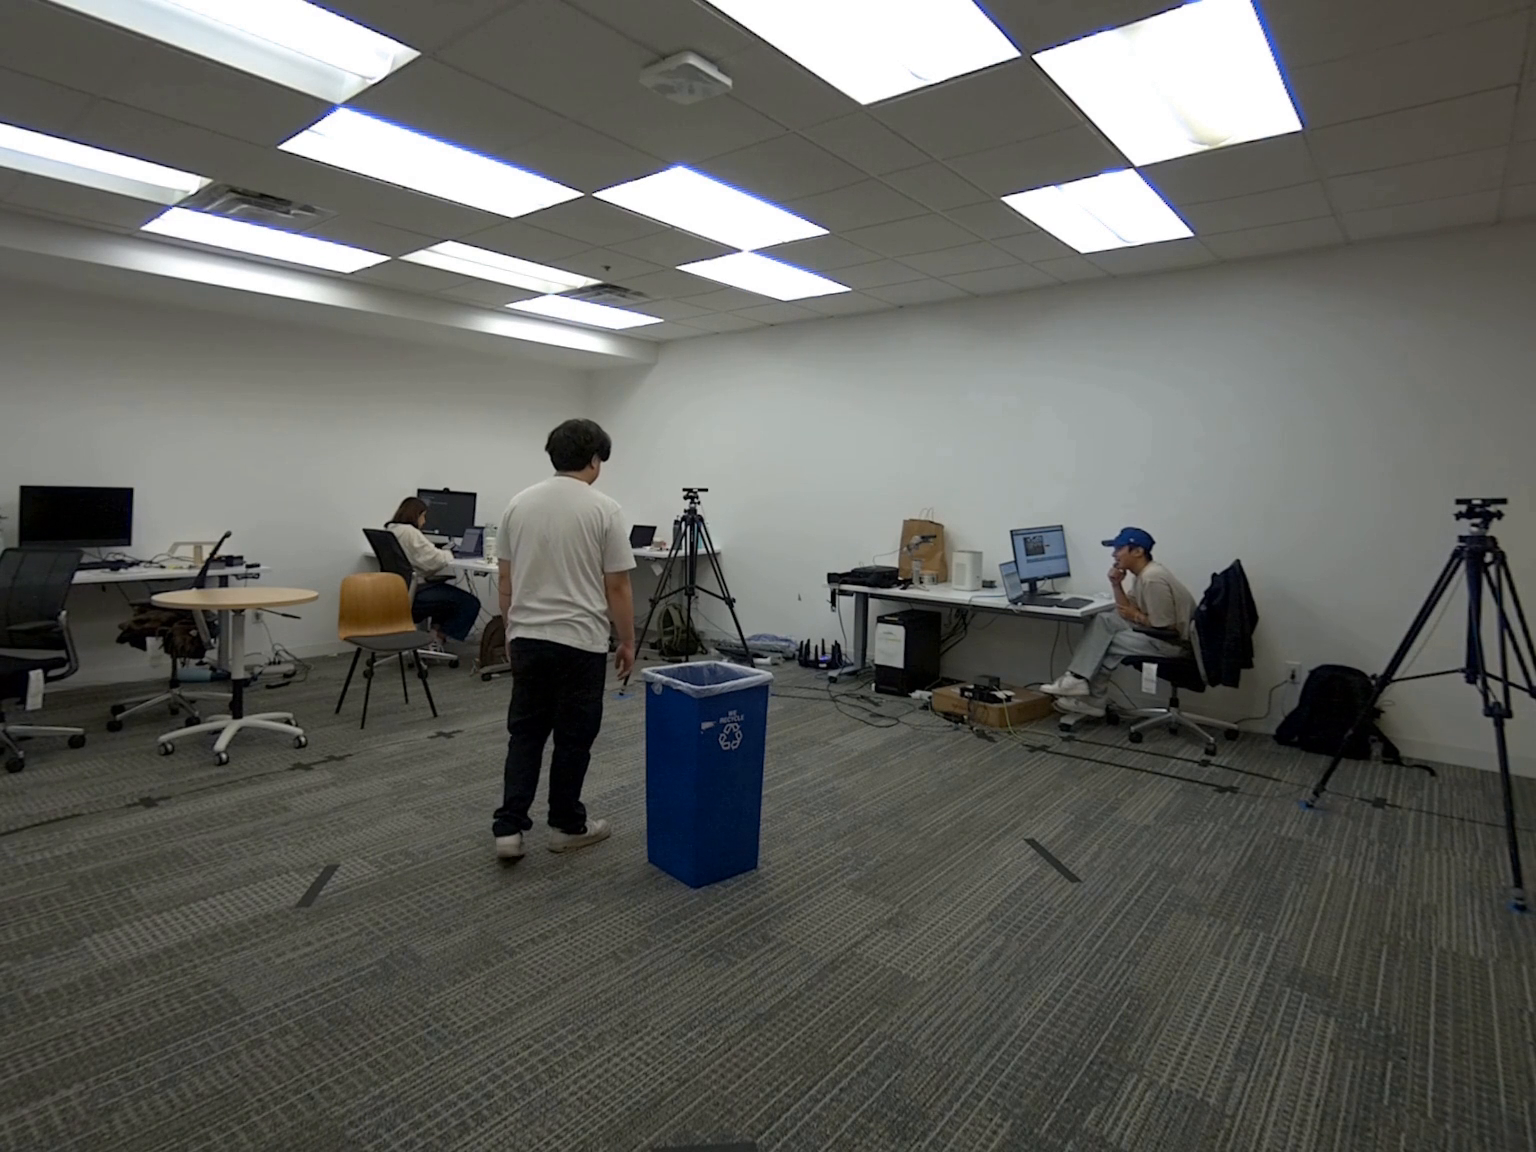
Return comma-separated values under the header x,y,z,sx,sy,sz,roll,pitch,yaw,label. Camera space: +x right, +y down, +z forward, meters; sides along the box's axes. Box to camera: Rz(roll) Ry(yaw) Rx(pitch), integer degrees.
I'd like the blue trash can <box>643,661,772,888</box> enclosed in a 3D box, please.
x,y,z,sx,sy,sz,roll,pitch,yaw,label
-0.241,0.708,3.143,0.363,0.711,0.391,-2,4,-41,blue trash can
